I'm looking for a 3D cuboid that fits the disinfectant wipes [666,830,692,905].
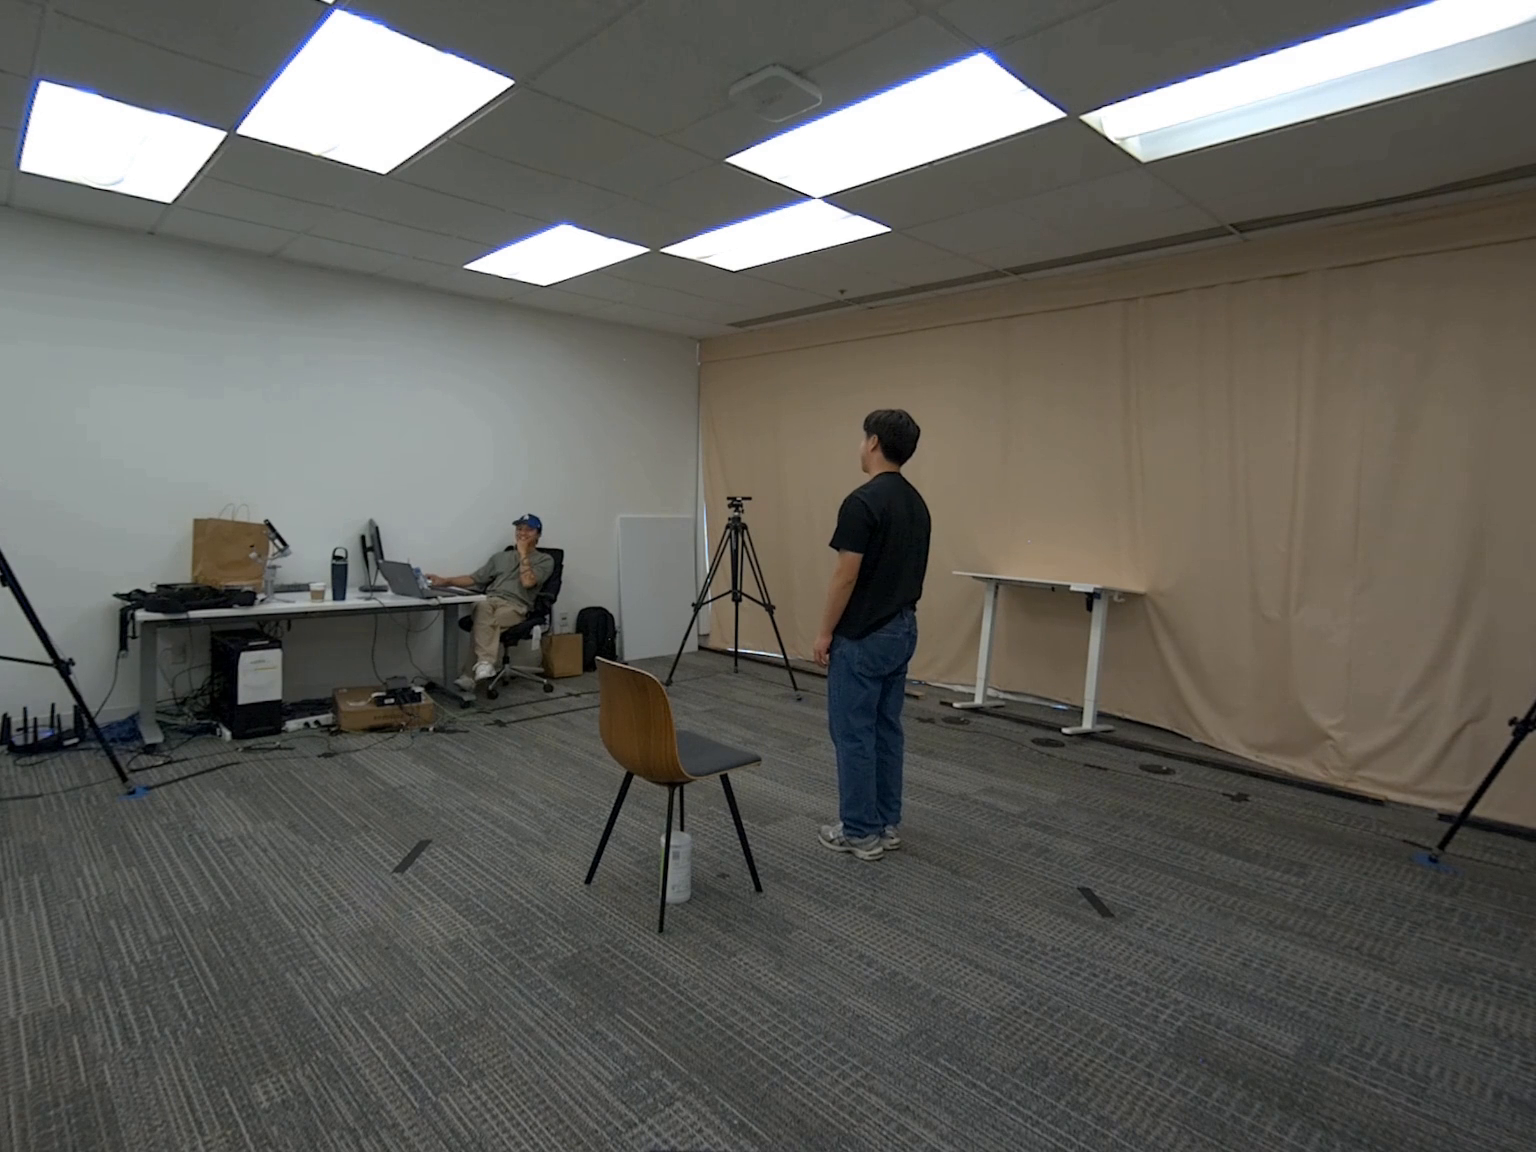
[{"bbox_3d":[-0.320,1.011,2.920,0.118,0.217,0.118,2,3,-1],"label":"disinfectant wipes"}]
